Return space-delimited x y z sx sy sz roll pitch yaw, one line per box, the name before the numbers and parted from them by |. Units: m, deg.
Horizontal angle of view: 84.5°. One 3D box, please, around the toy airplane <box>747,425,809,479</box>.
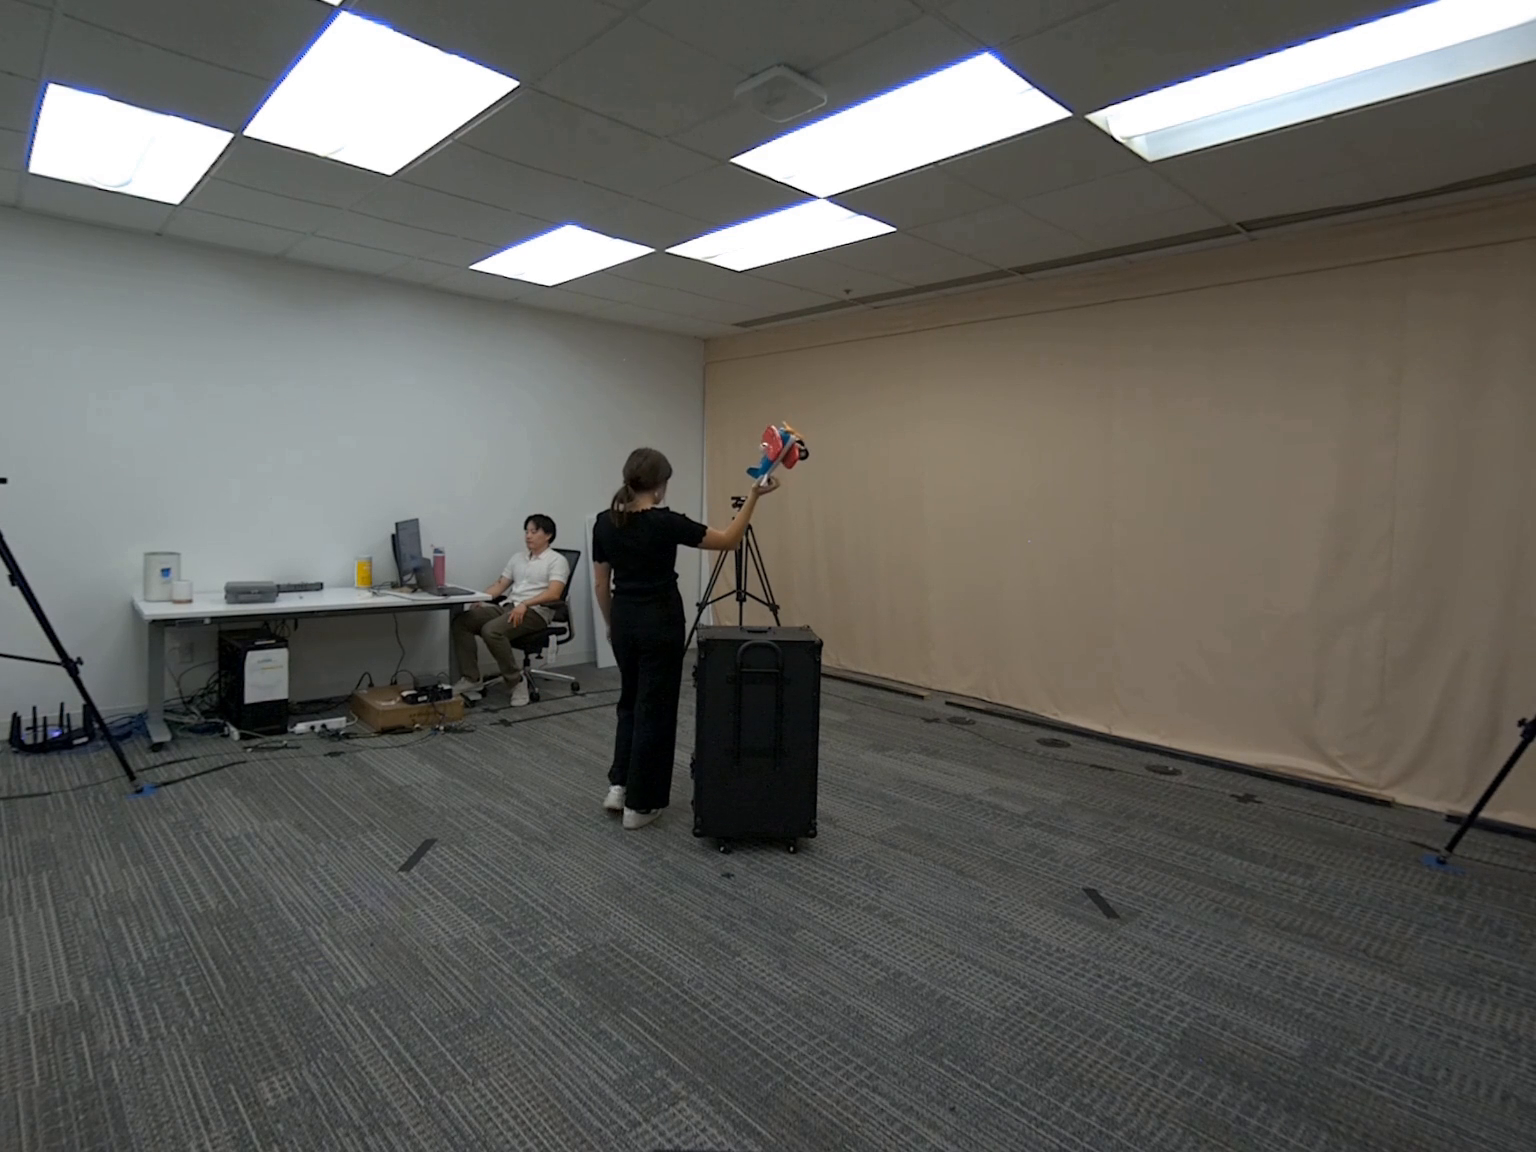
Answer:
toy airplane | 0.030 -0.482 3.413 0.152 0.259 0.257 40 -11 -26
